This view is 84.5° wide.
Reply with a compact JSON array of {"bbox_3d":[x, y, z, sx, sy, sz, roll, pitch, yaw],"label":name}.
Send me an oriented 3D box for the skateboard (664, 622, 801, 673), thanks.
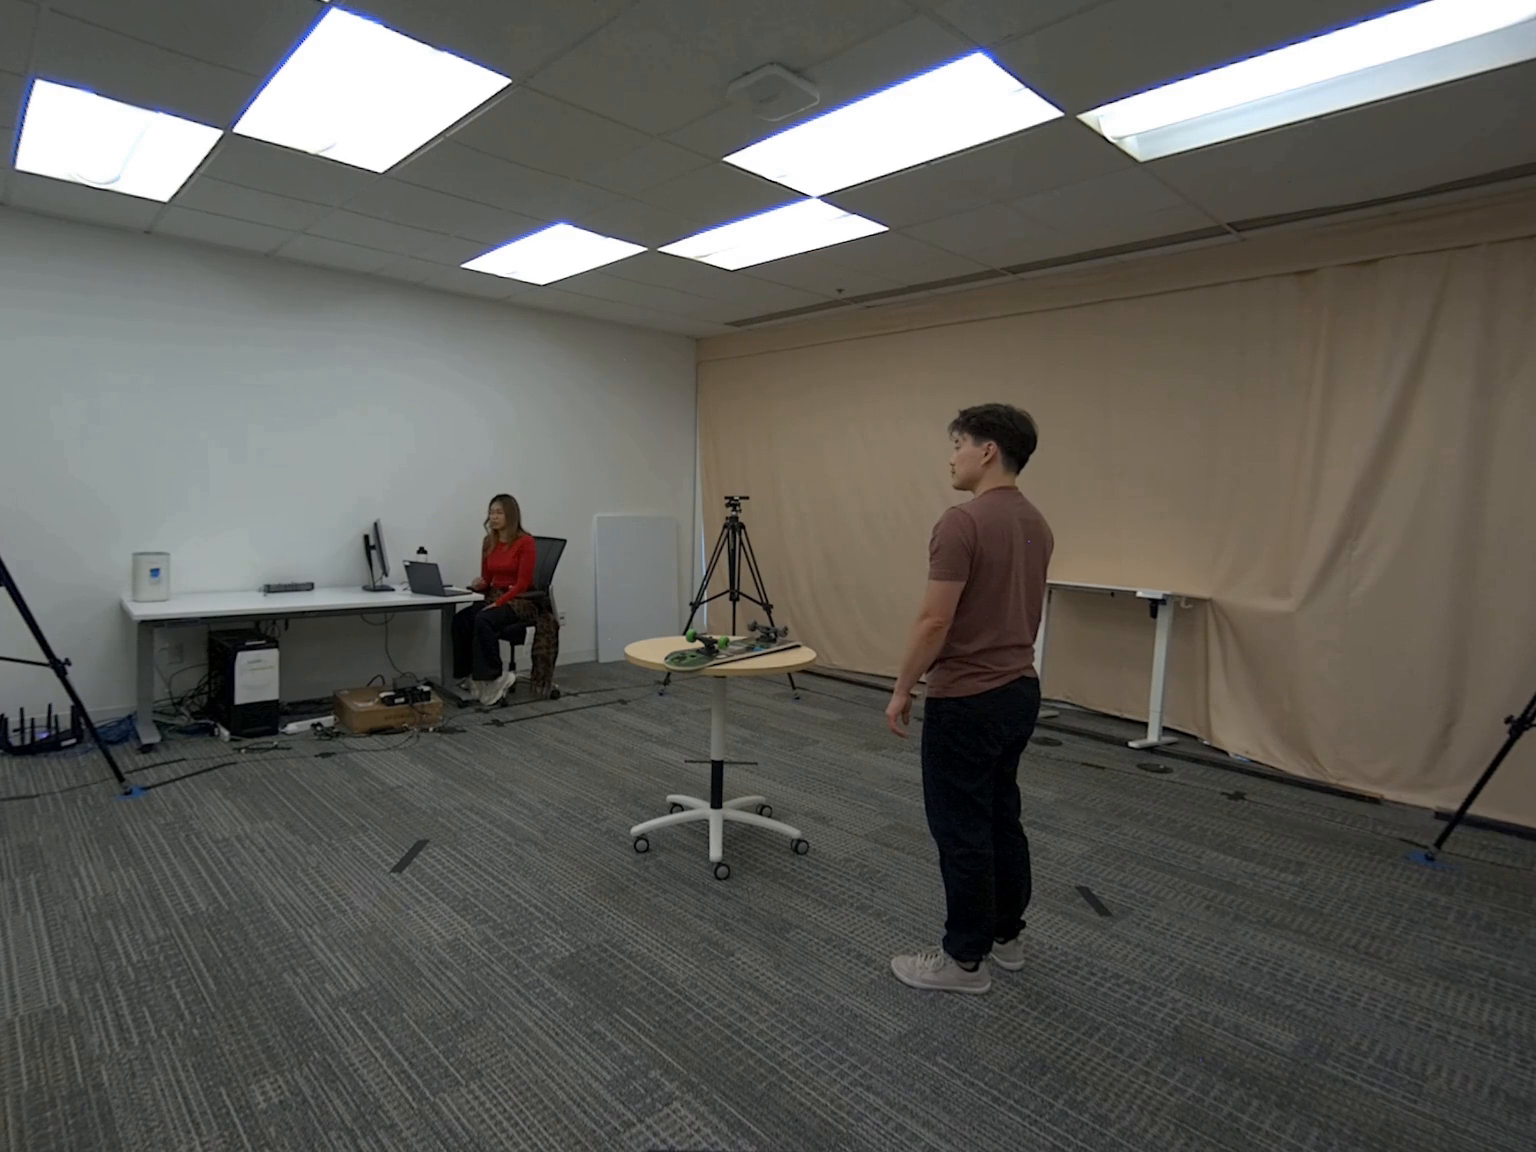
[{"bbox_3d":[-0.129,0.258,3.302,0.198,0.110,0.768,9,8,35],"label":"skateboard"}]
